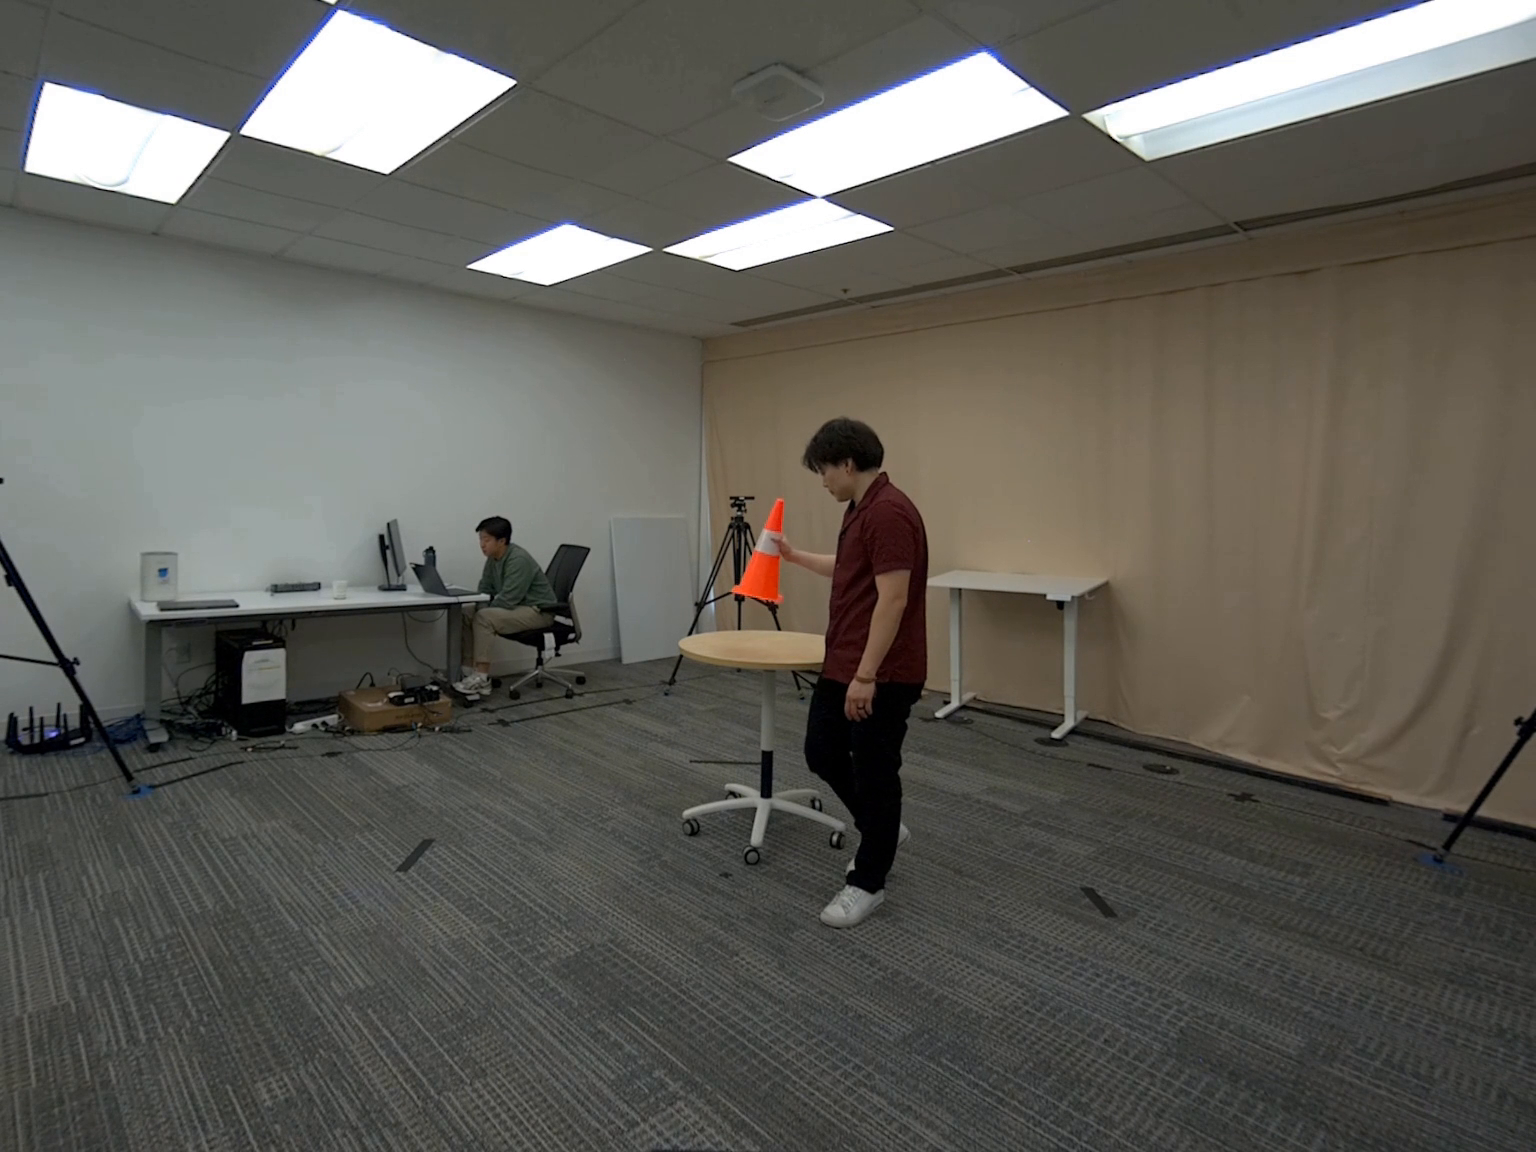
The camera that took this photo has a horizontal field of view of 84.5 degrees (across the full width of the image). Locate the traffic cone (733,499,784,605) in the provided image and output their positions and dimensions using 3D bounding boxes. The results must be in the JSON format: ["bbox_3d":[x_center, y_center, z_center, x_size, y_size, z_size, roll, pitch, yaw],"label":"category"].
[{"bbox_3d":[-0.005,-0.109,3.285,0.202,0.382,0.207,11,8,-19],"label":"traffic cone"}]
